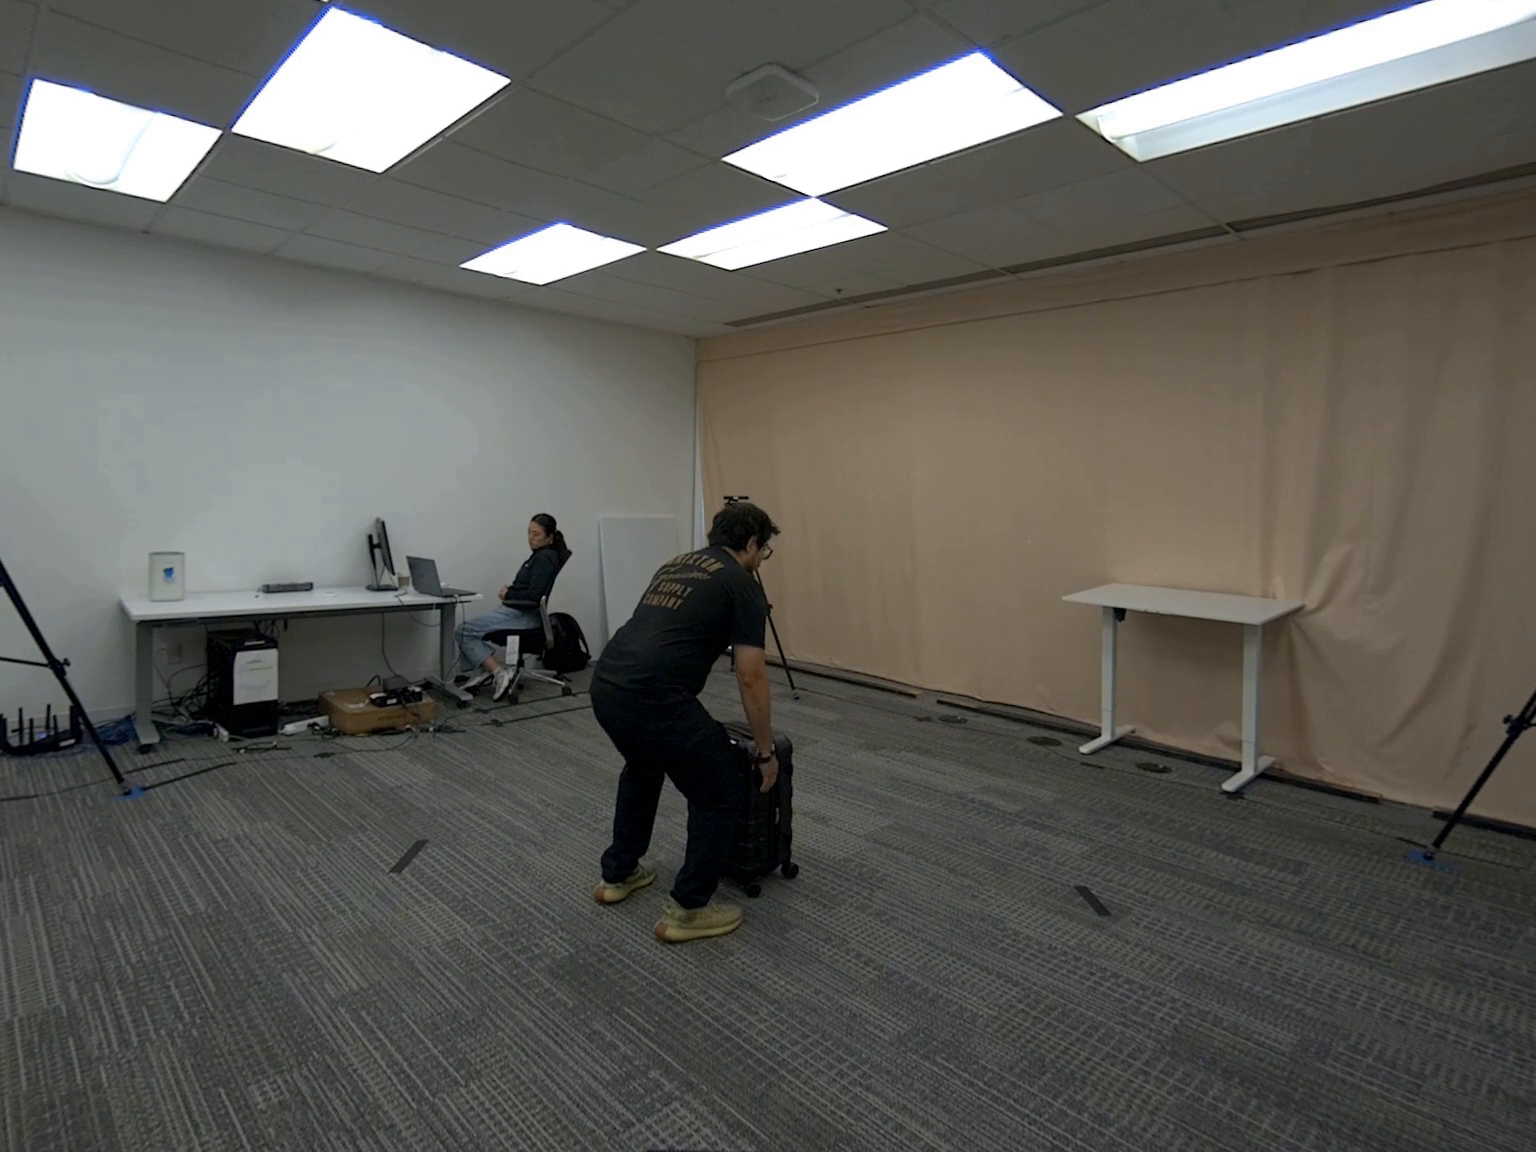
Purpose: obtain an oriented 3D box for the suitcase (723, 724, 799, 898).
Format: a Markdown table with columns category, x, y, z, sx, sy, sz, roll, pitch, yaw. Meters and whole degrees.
| category | x | y | z | sx | sy | sz | roll | pitch | yaw |
| --- | --- | --- | --- | --- | --- | --- | --- | --- | --- |
| suitcase | -0.105 | 0.828 | 3.111 | 0.243 | 0.548 | 0.385 | -3 | 5 | -45 |
